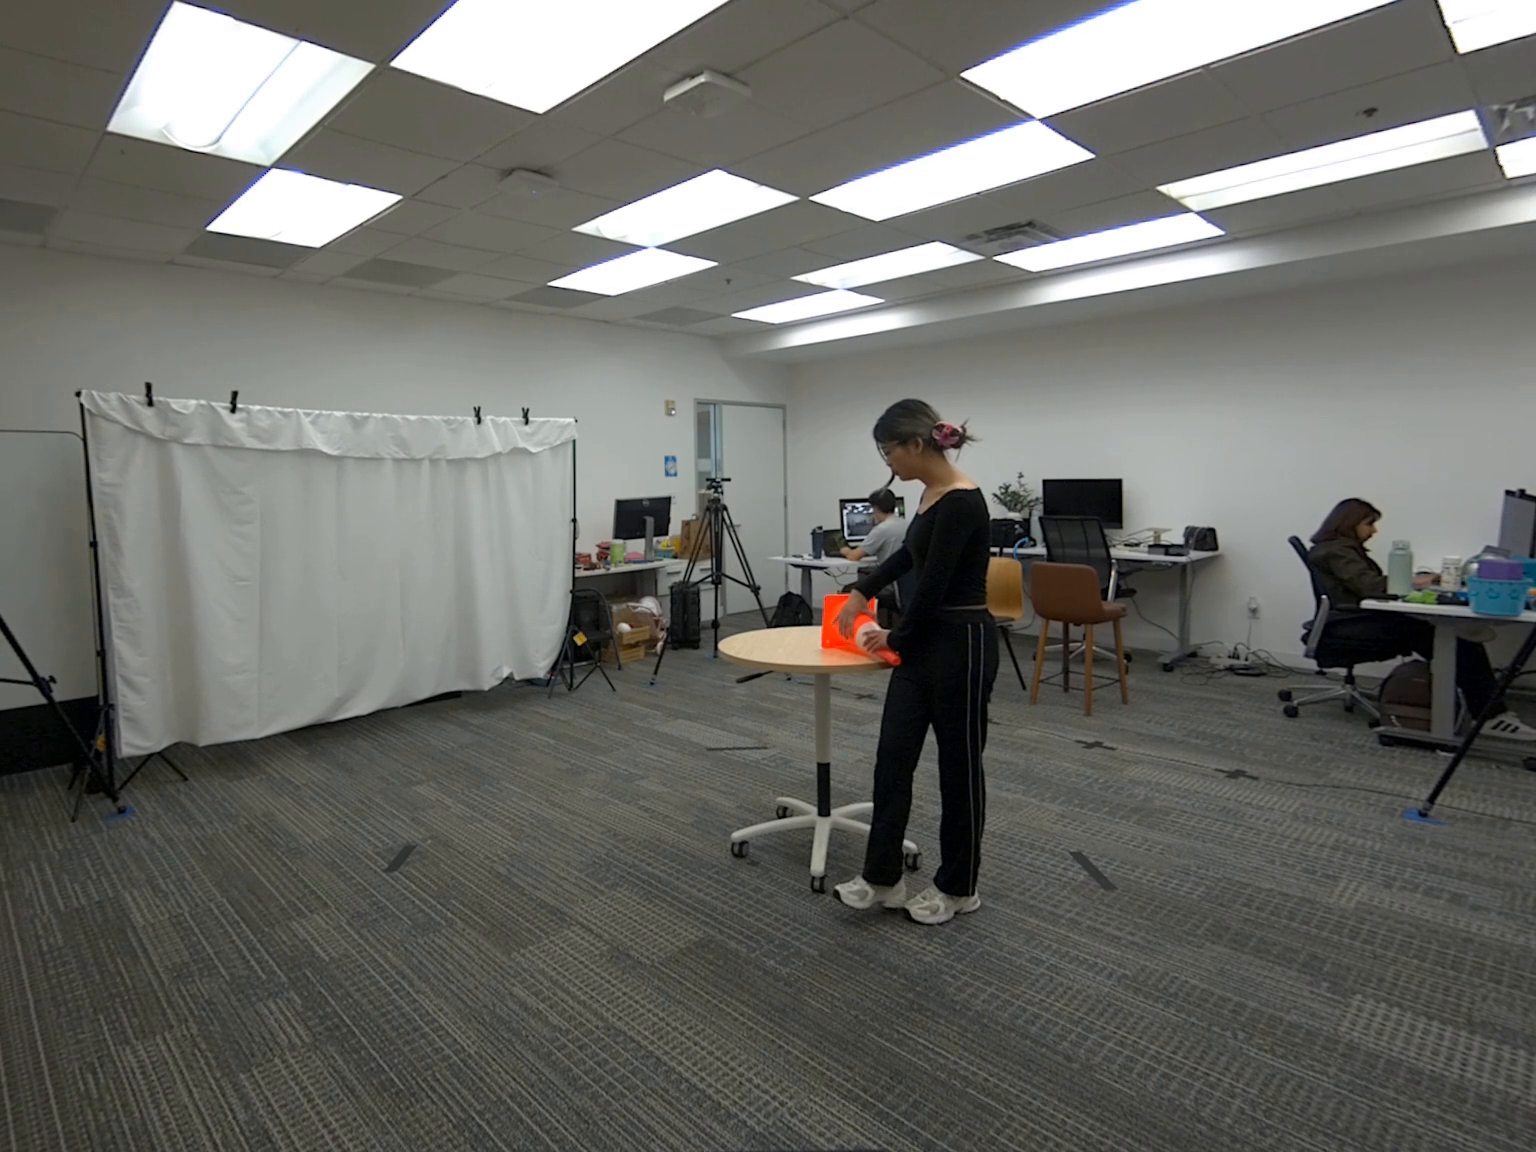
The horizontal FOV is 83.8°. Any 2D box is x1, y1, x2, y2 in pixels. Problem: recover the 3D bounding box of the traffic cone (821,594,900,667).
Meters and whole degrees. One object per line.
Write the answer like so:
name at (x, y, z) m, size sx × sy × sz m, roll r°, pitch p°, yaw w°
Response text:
traffic cone at (0.348, 0.224, 2.875) m, size 0.201 × 0.202 × 0.395 m, roll -5°, pitch 20°, yaw -15°
